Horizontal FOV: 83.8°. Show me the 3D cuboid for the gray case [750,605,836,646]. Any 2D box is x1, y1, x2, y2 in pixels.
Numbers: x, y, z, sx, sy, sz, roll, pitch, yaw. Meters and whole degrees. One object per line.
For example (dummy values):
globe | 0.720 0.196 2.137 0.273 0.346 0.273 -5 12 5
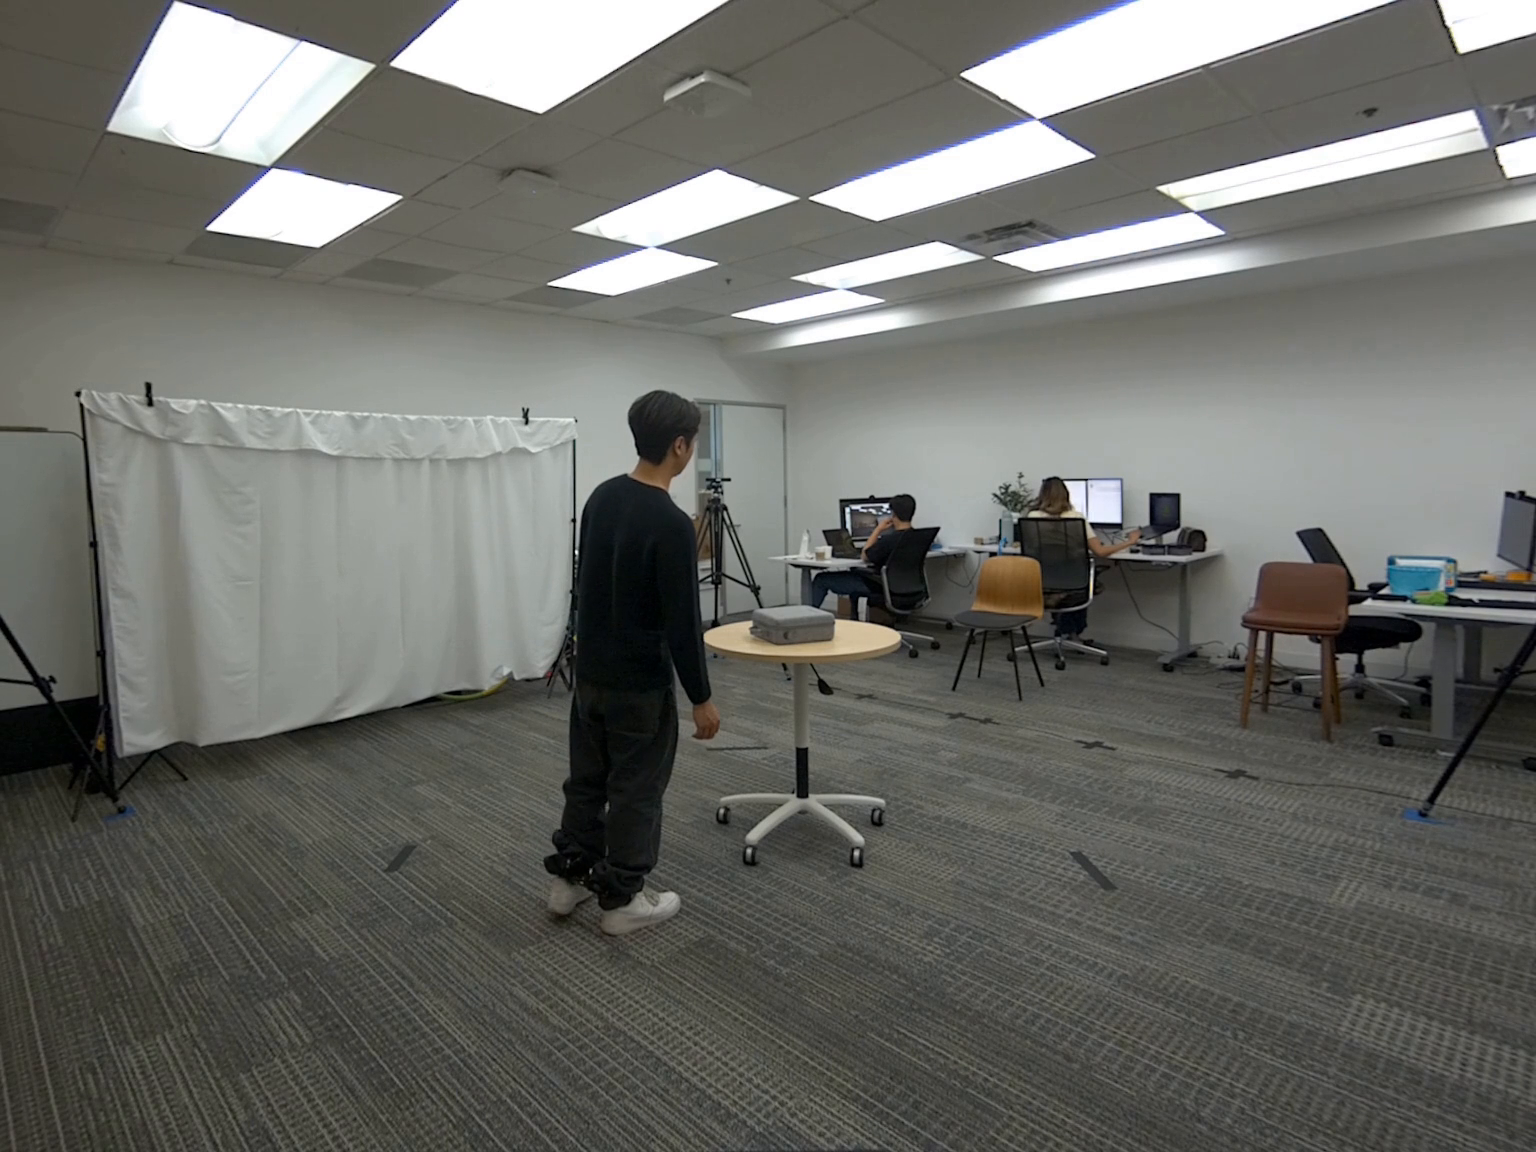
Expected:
gray case | 0.091 0.184 3.266 0.256 0.104 0.263 -4 8 -21
